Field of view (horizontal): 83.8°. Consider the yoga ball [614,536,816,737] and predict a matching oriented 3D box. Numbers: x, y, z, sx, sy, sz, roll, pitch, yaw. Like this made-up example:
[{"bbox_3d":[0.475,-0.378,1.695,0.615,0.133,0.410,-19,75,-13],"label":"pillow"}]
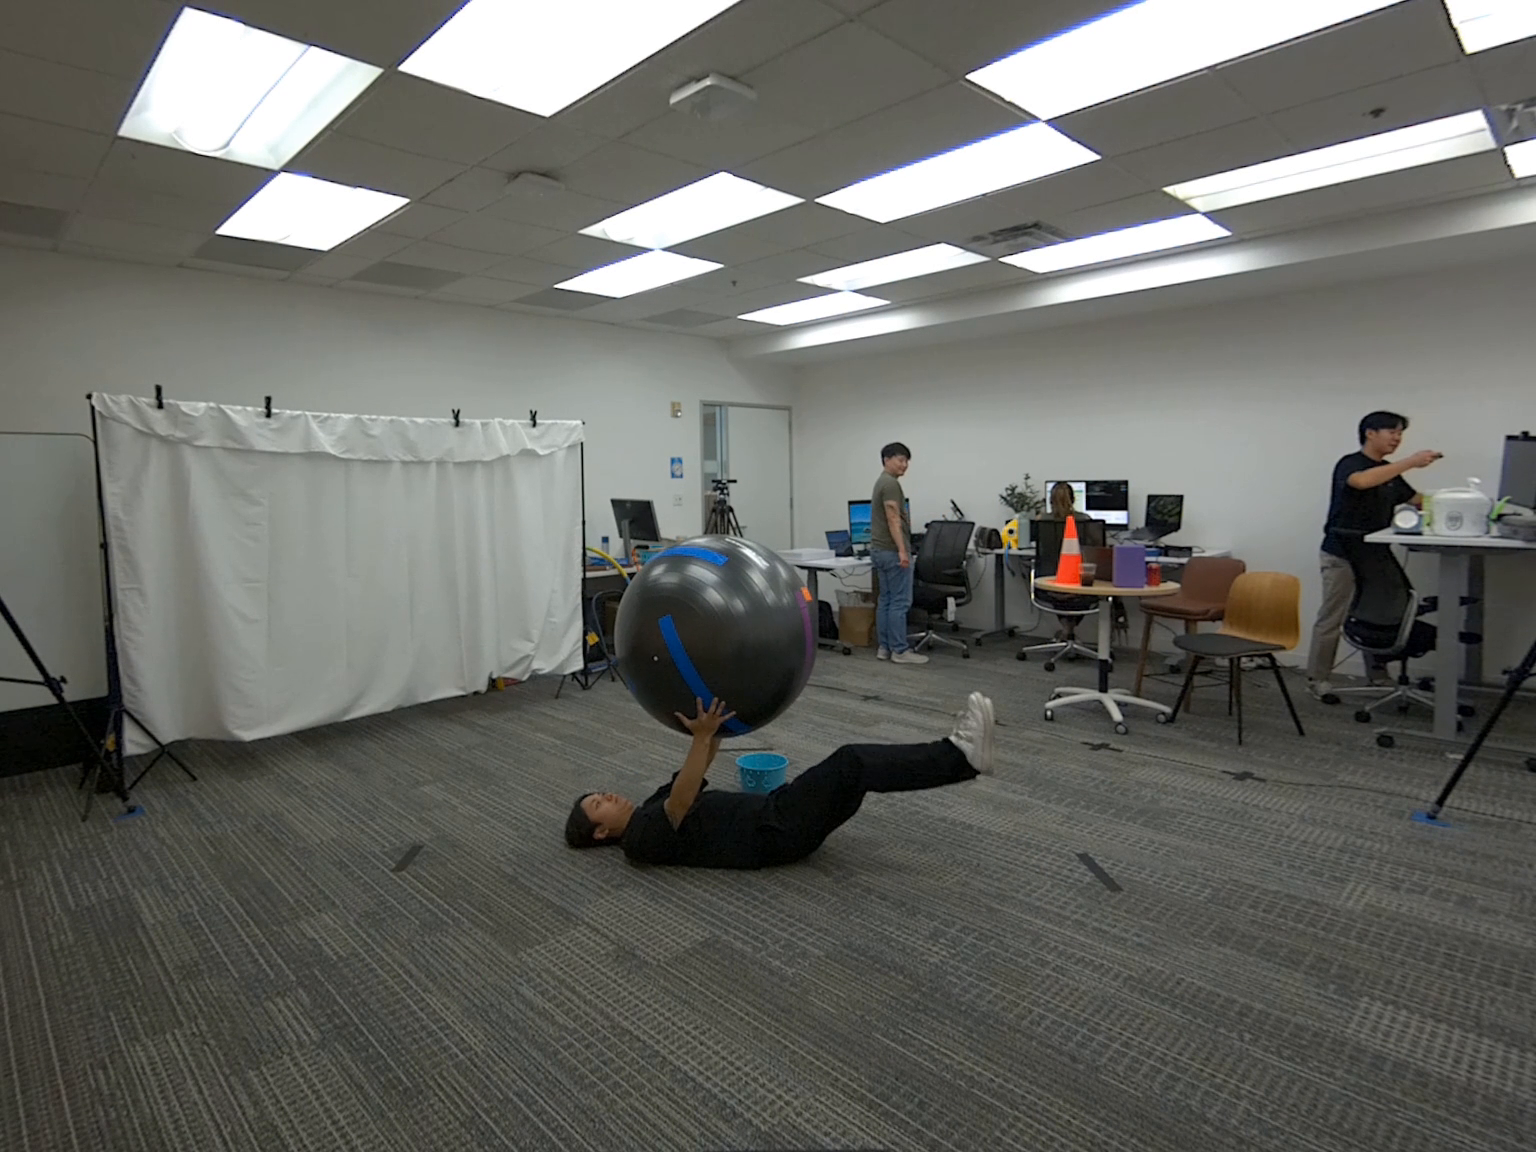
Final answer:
[{"bbox_3d":[-0.196,0.231,3.204,0.757,0.755,0.762,-1,5,-2],"label":"yoga ball"}]
